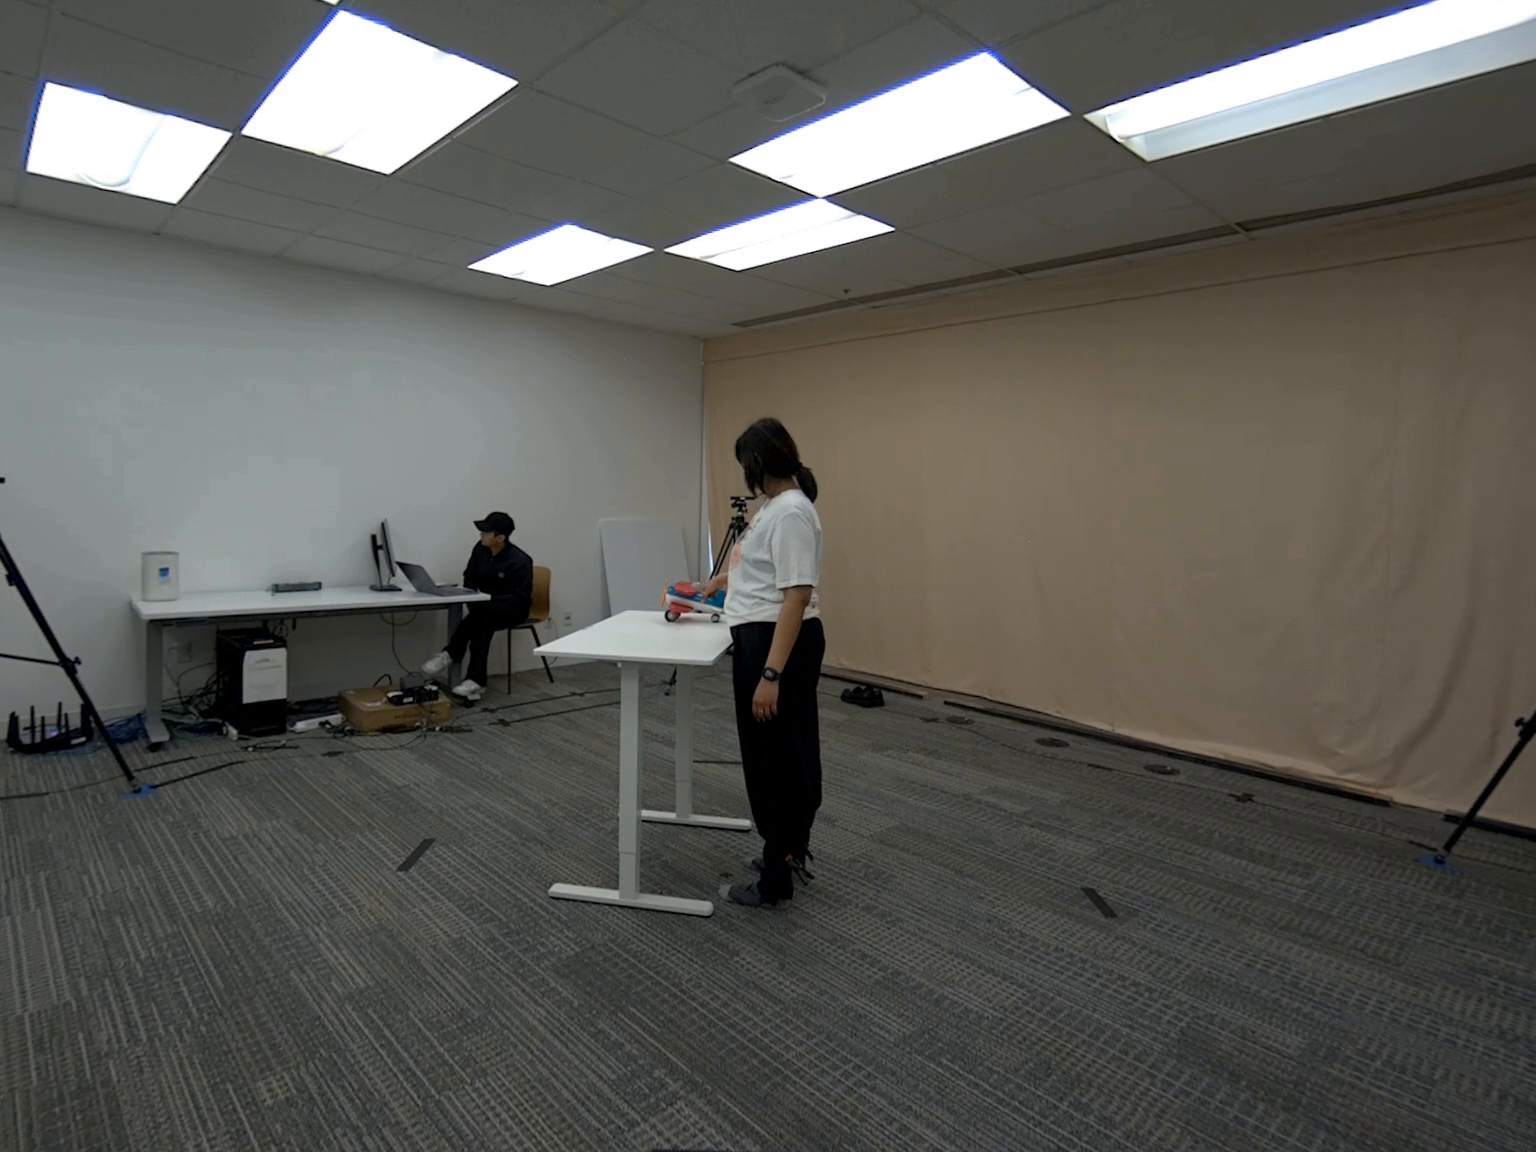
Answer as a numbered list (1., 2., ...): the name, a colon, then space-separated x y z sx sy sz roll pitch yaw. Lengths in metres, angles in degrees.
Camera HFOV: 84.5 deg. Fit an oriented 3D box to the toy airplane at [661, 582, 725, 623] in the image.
1. toy airplane: -0.317 0.106 3.460 0.255 0.156 0.256 -3 5 -22
